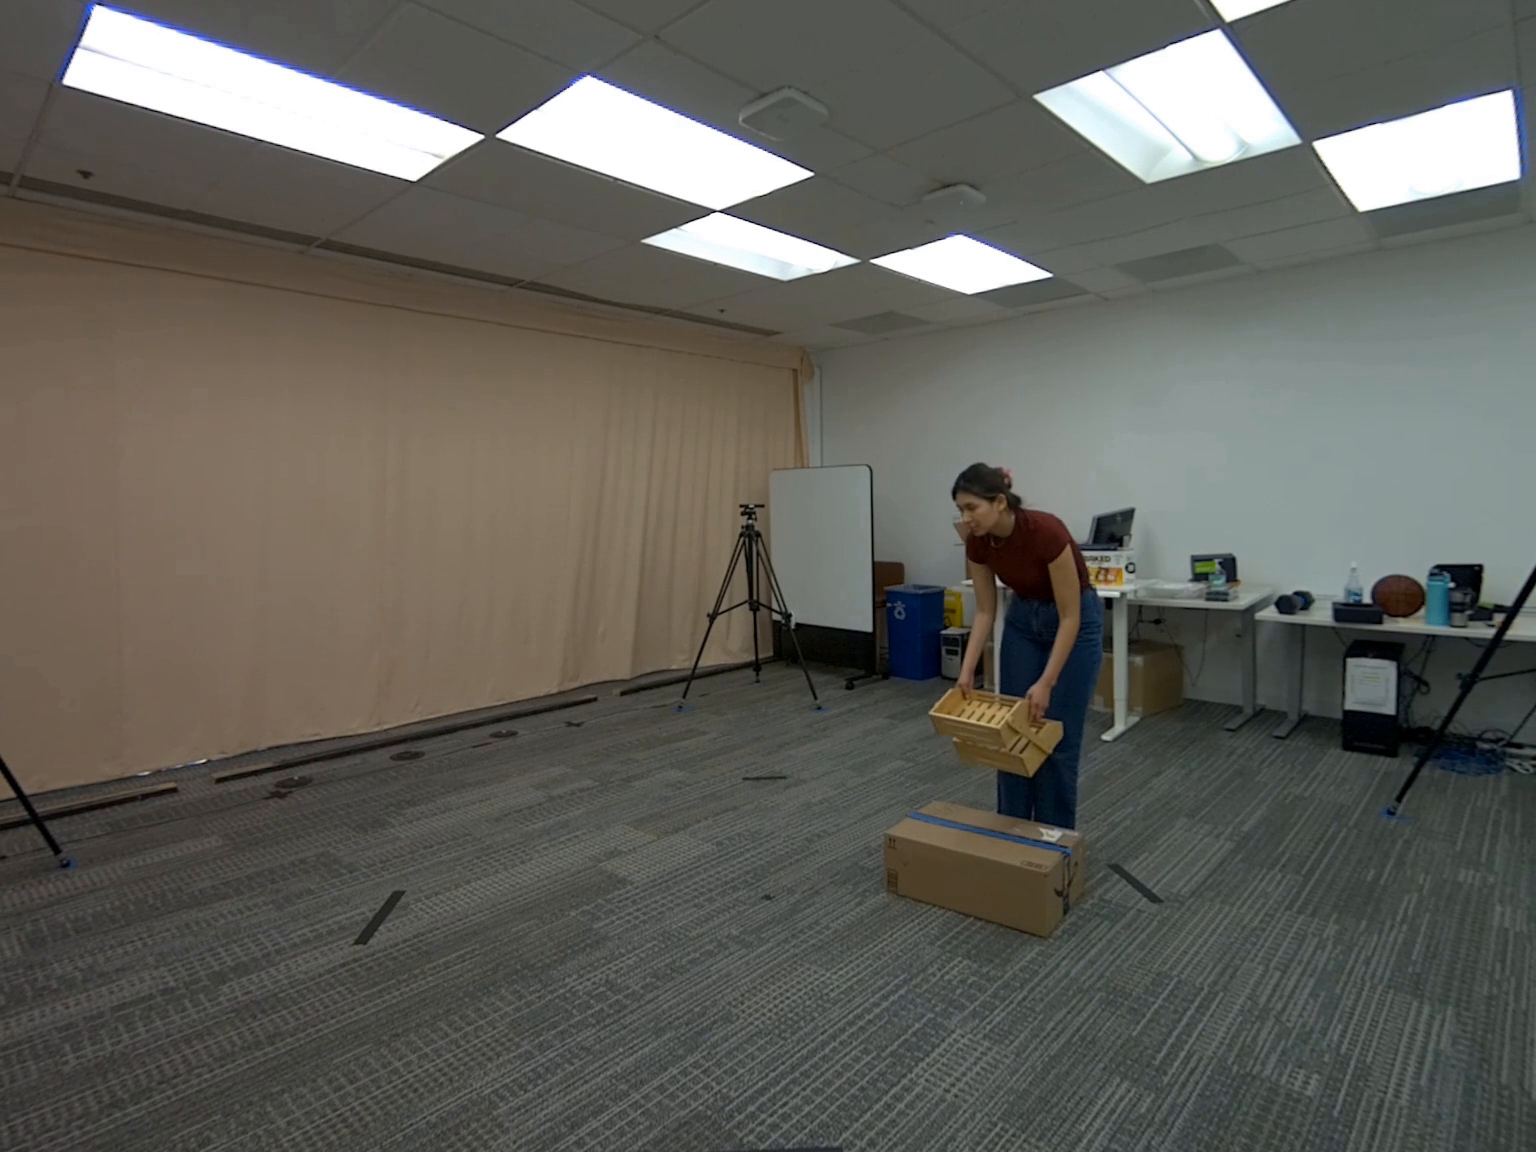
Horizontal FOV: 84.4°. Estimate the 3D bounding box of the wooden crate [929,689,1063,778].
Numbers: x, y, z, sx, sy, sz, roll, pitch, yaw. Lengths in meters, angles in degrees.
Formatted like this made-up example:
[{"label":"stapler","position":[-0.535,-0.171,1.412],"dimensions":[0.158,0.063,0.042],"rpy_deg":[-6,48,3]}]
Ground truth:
[{"label":"wooden crate","position":[0.841,0.530,3.052],"dimensions":[0.298,0.268,0.335],"rpy_deg":[-38,23,-30]}]
